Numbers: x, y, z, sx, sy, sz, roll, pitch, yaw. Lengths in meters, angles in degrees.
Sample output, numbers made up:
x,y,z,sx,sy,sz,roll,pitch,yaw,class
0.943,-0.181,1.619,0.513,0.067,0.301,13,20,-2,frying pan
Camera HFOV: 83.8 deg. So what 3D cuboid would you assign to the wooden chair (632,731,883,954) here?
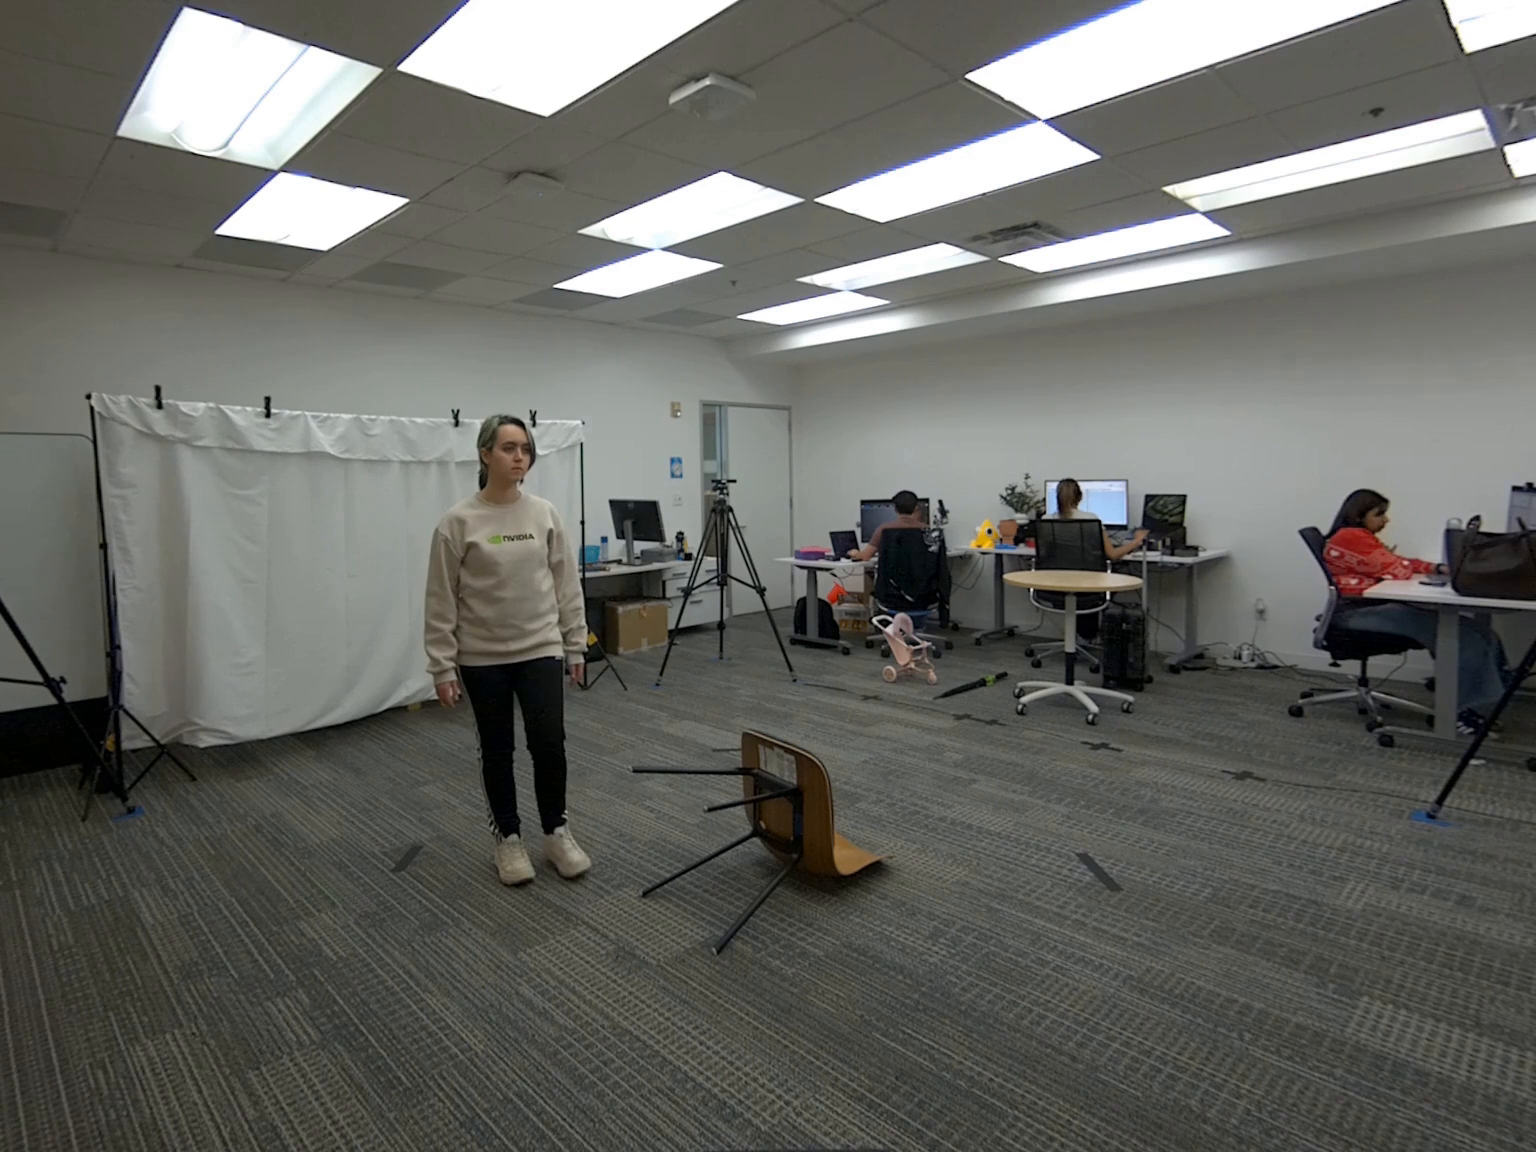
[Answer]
x,y,z,sx,sy,sz,roll,pitch,yaw,class
0.025,0.807,2.914,0.854,0.521,0.492,-4,6,-37,wooden chair
